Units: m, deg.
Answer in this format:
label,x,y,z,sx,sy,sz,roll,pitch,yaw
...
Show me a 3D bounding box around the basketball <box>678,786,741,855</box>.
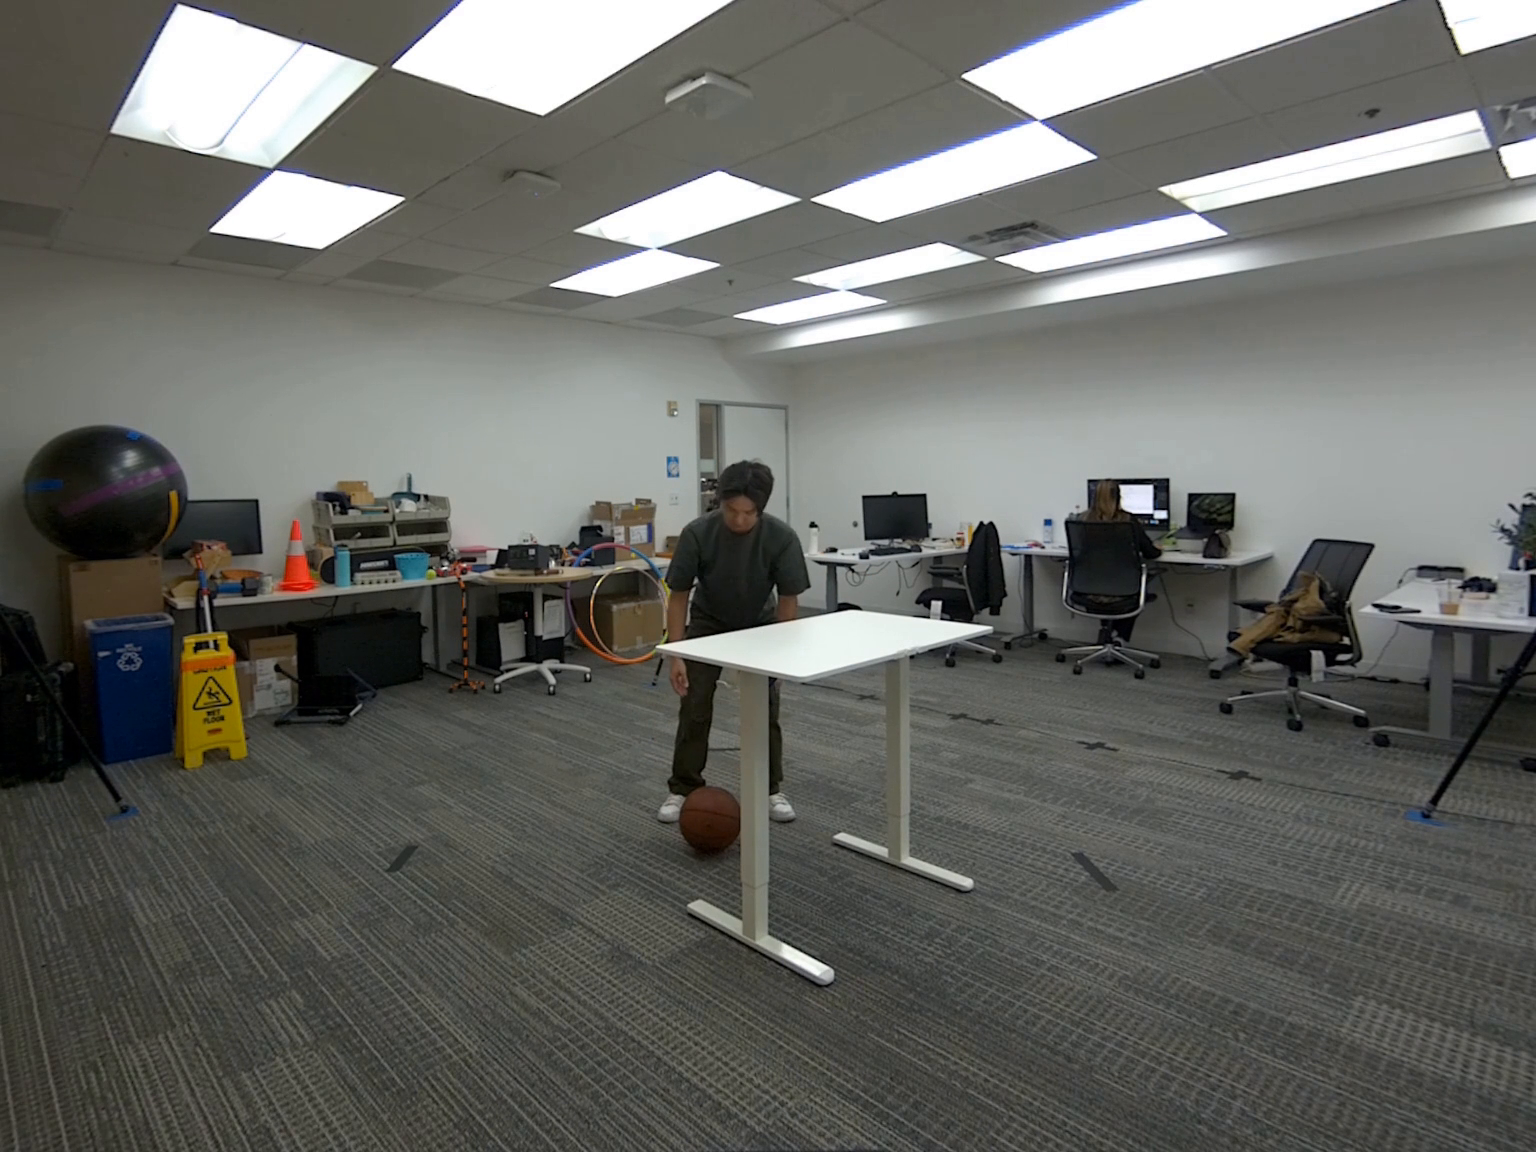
label,x,y,z,sx,sy,sz,roll,pitch,yaw
basketball,-0.218,0.911,3.216,0.236,0.235,0.237,-1,5,-2
